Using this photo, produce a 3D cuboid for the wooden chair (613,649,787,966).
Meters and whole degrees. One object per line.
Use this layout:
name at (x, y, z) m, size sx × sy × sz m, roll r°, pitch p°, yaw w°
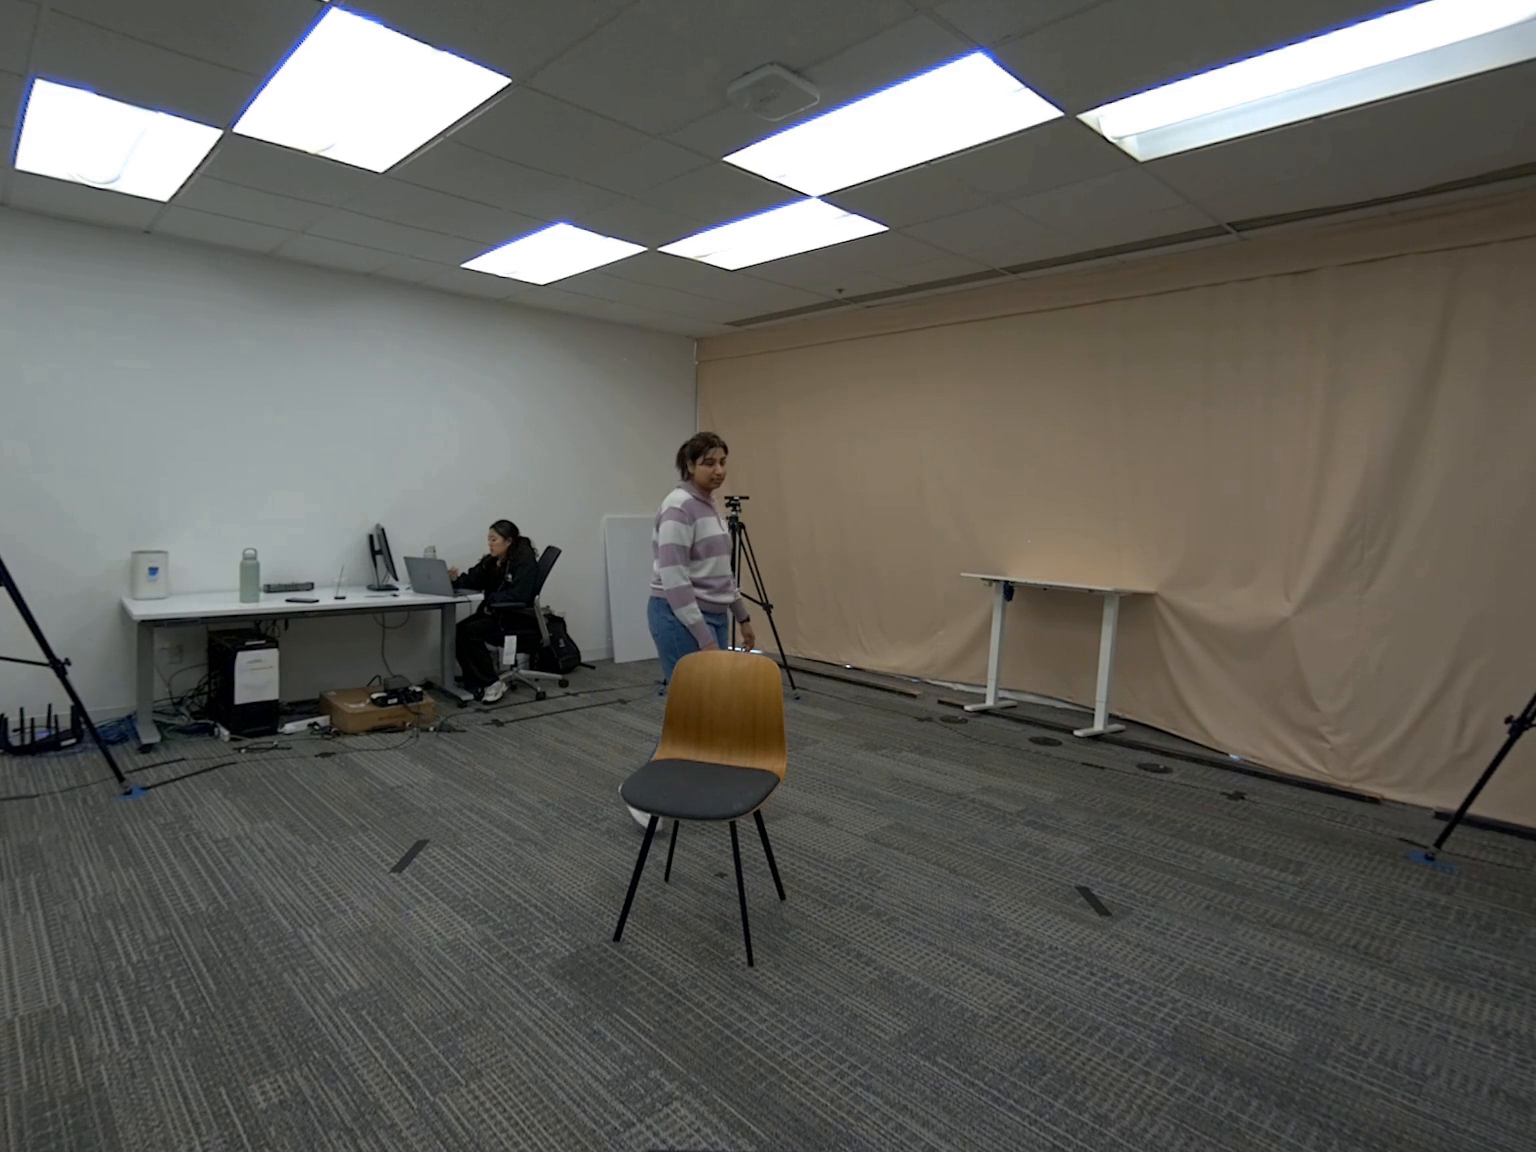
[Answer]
wooden chair at (-0.207, 0.711, 2.730) m, size 0.484 × 0.877 × 0.516 m, roll 2°, pitch 0°, yaw 15°
